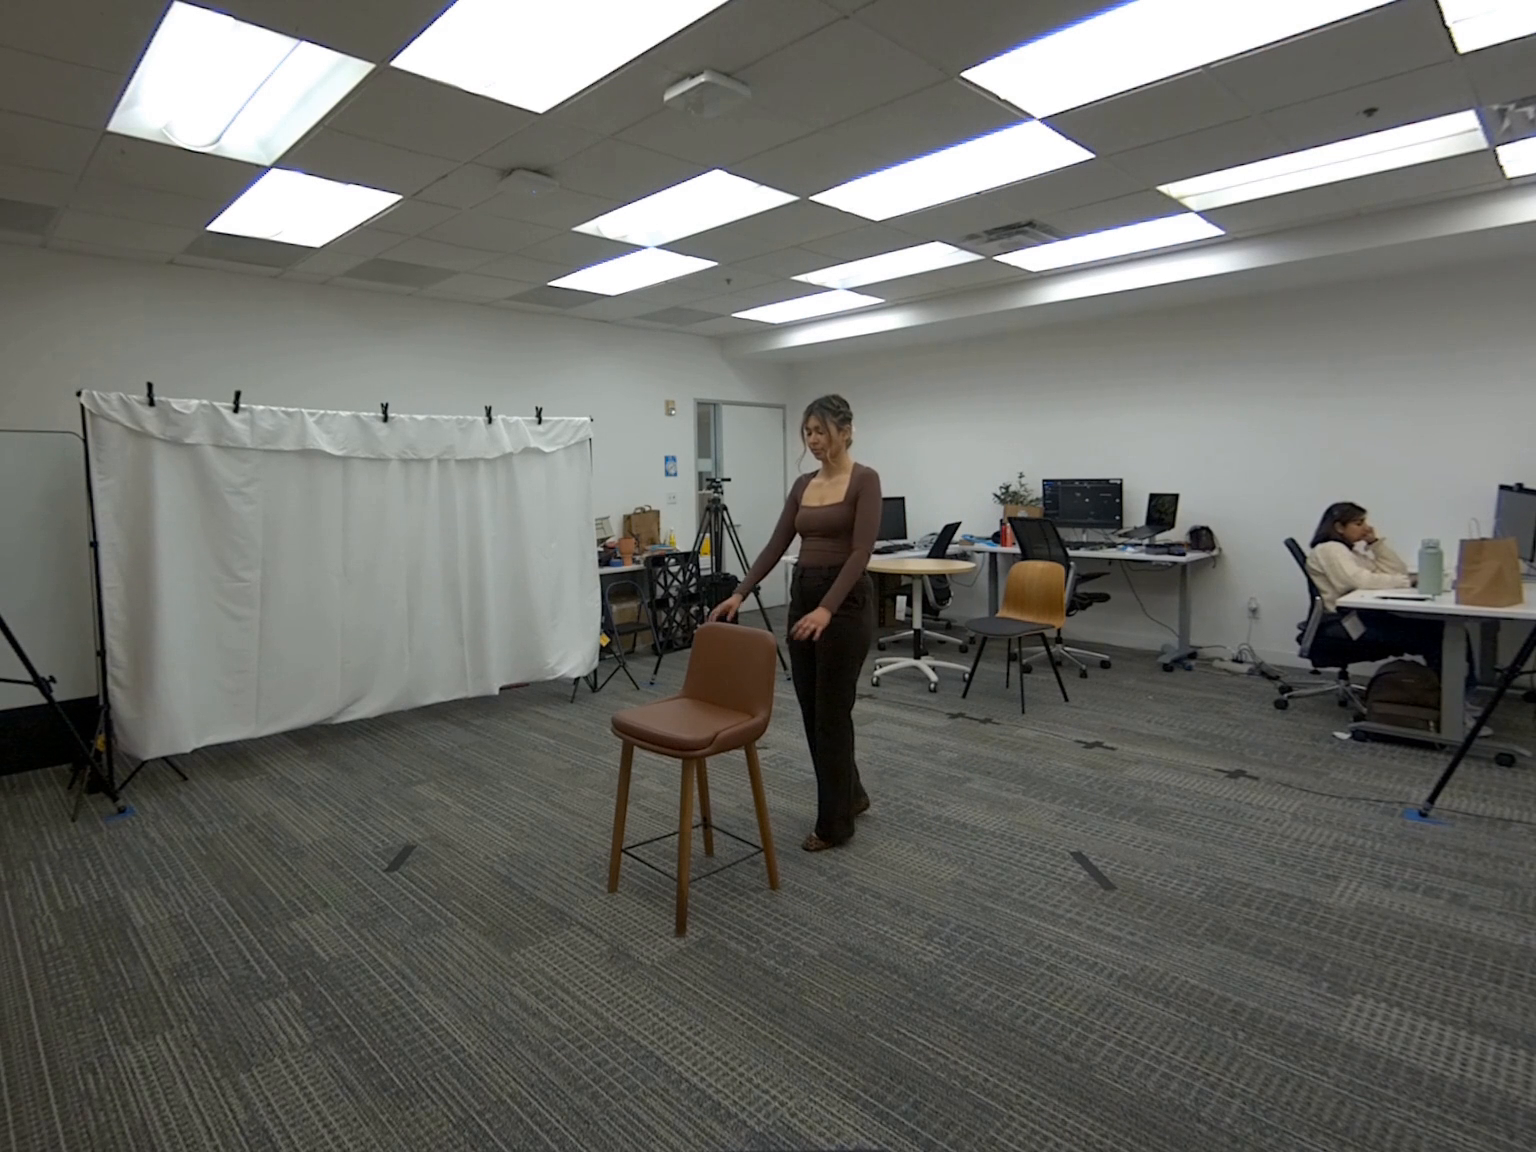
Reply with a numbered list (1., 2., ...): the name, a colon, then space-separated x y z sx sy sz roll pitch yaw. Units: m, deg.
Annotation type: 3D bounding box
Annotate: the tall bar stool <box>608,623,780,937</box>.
1. tall bar stool: -0.244 0.635 2.879 0.454 0.888 0.470 -2 4 -42
